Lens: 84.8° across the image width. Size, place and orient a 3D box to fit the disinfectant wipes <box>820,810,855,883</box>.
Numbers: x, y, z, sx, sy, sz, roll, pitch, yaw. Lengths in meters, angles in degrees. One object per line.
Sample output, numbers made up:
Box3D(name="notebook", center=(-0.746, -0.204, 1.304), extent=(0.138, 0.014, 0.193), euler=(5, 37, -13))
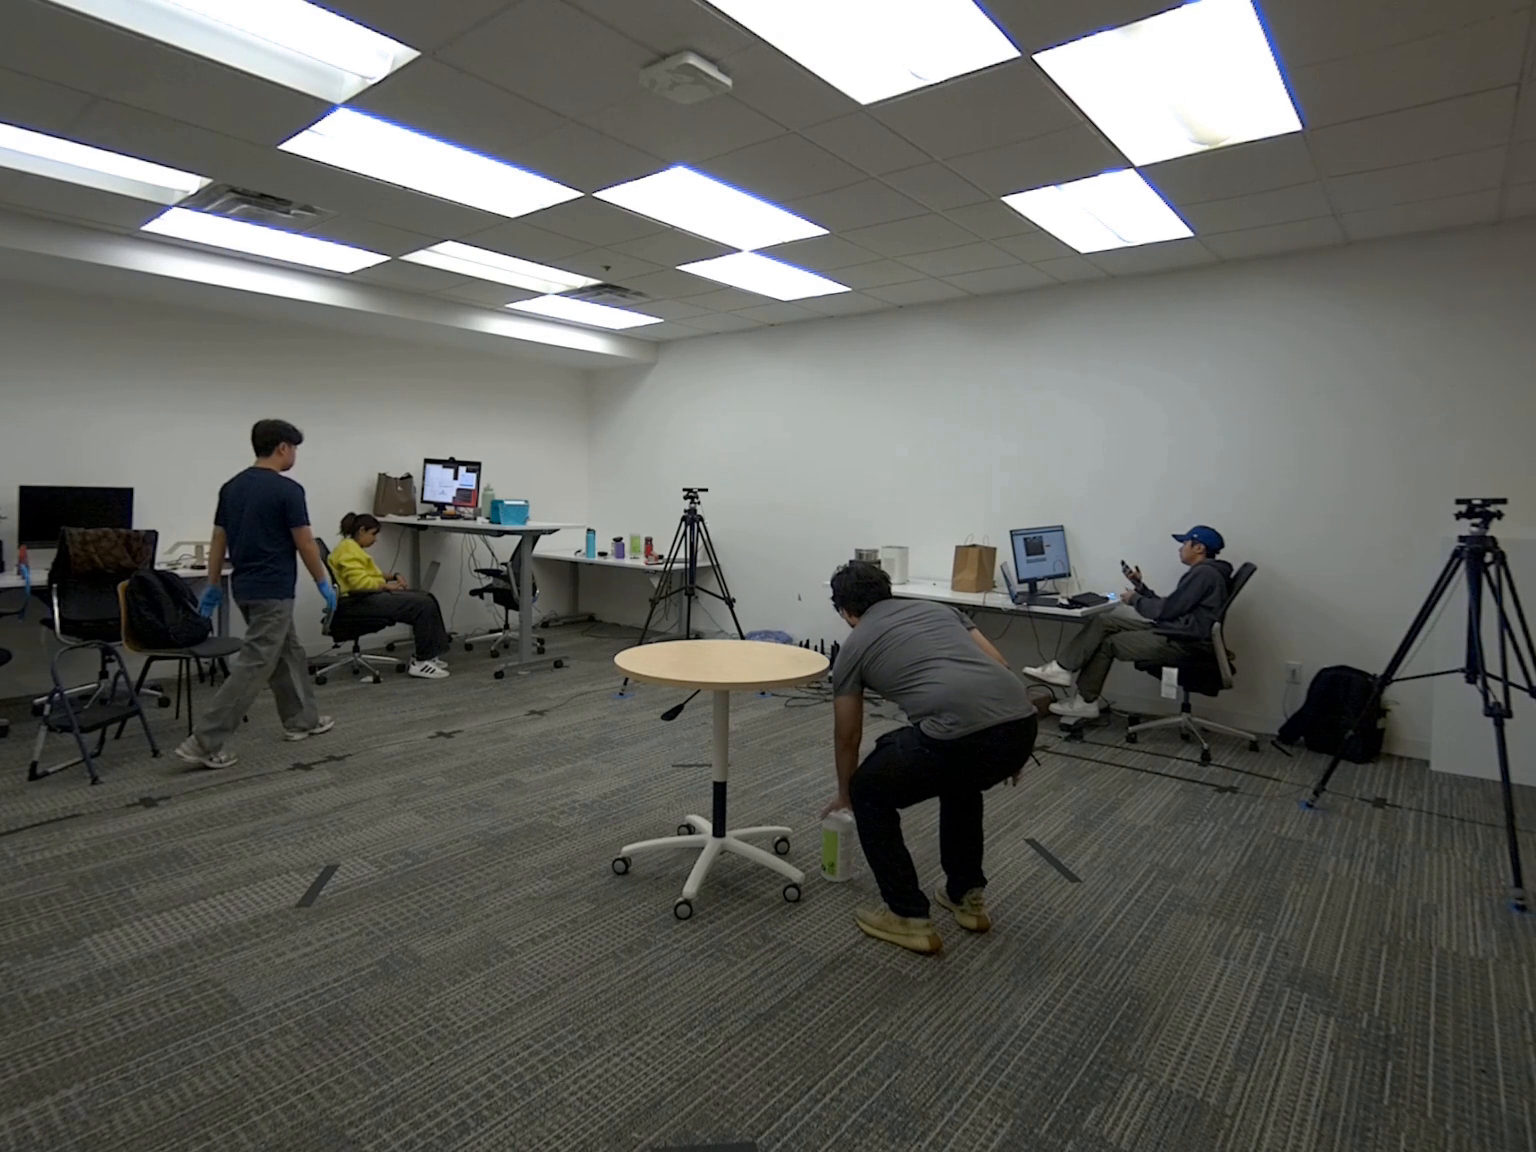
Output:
Box3D(name="disinfectant wipes", center=(0.243, 0.980, 3.067), extent=(0.117, 0.216, 0.118), euler=(2, 6, -2))
